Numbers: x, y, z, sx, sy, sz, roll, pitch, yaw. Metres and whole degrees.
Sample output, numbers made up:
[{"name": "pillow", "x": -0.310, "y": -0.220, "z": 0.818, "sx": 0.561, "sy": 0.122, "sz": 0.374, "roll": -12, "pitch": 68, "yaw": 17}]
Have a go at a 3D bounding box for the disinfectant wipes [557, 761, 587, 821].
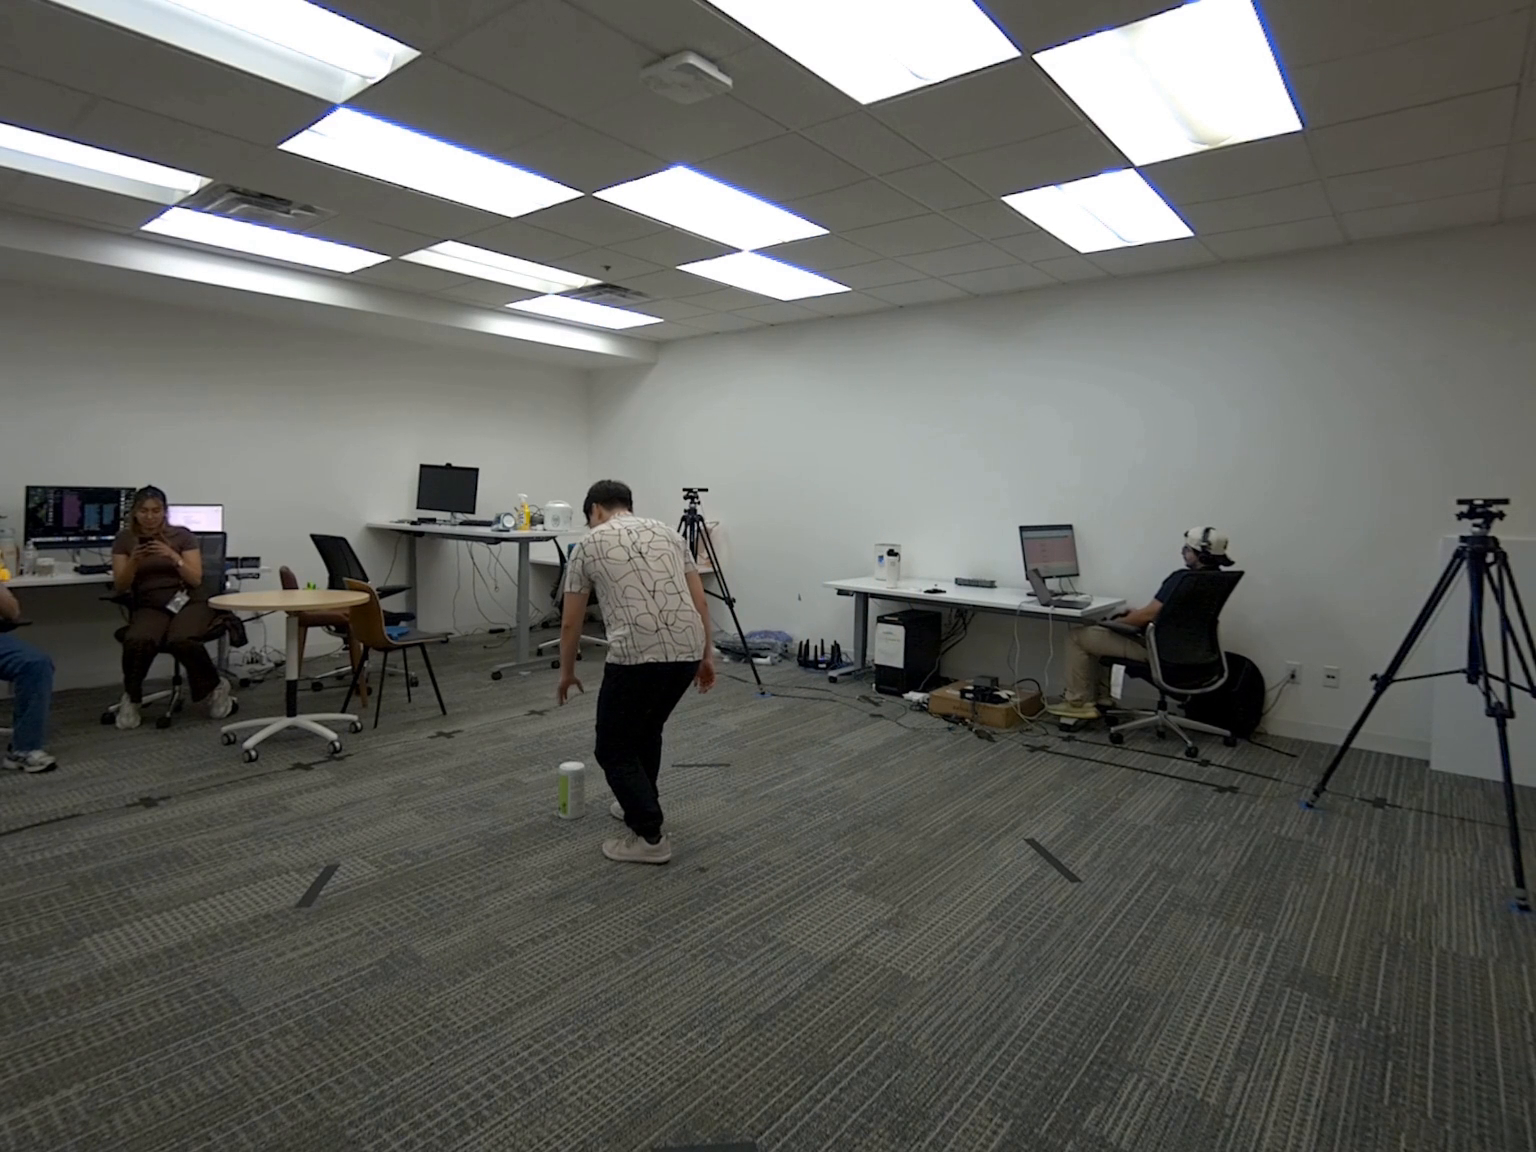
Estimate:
[{"name": "disinfectant wipes", "x": -0.851, "y": 0.912, "z": 3.608, "sx": 0.118, "sy": 0.217, "sz": 0.118, "roll": -1, "pitch": 4, "yaw": -2}]
